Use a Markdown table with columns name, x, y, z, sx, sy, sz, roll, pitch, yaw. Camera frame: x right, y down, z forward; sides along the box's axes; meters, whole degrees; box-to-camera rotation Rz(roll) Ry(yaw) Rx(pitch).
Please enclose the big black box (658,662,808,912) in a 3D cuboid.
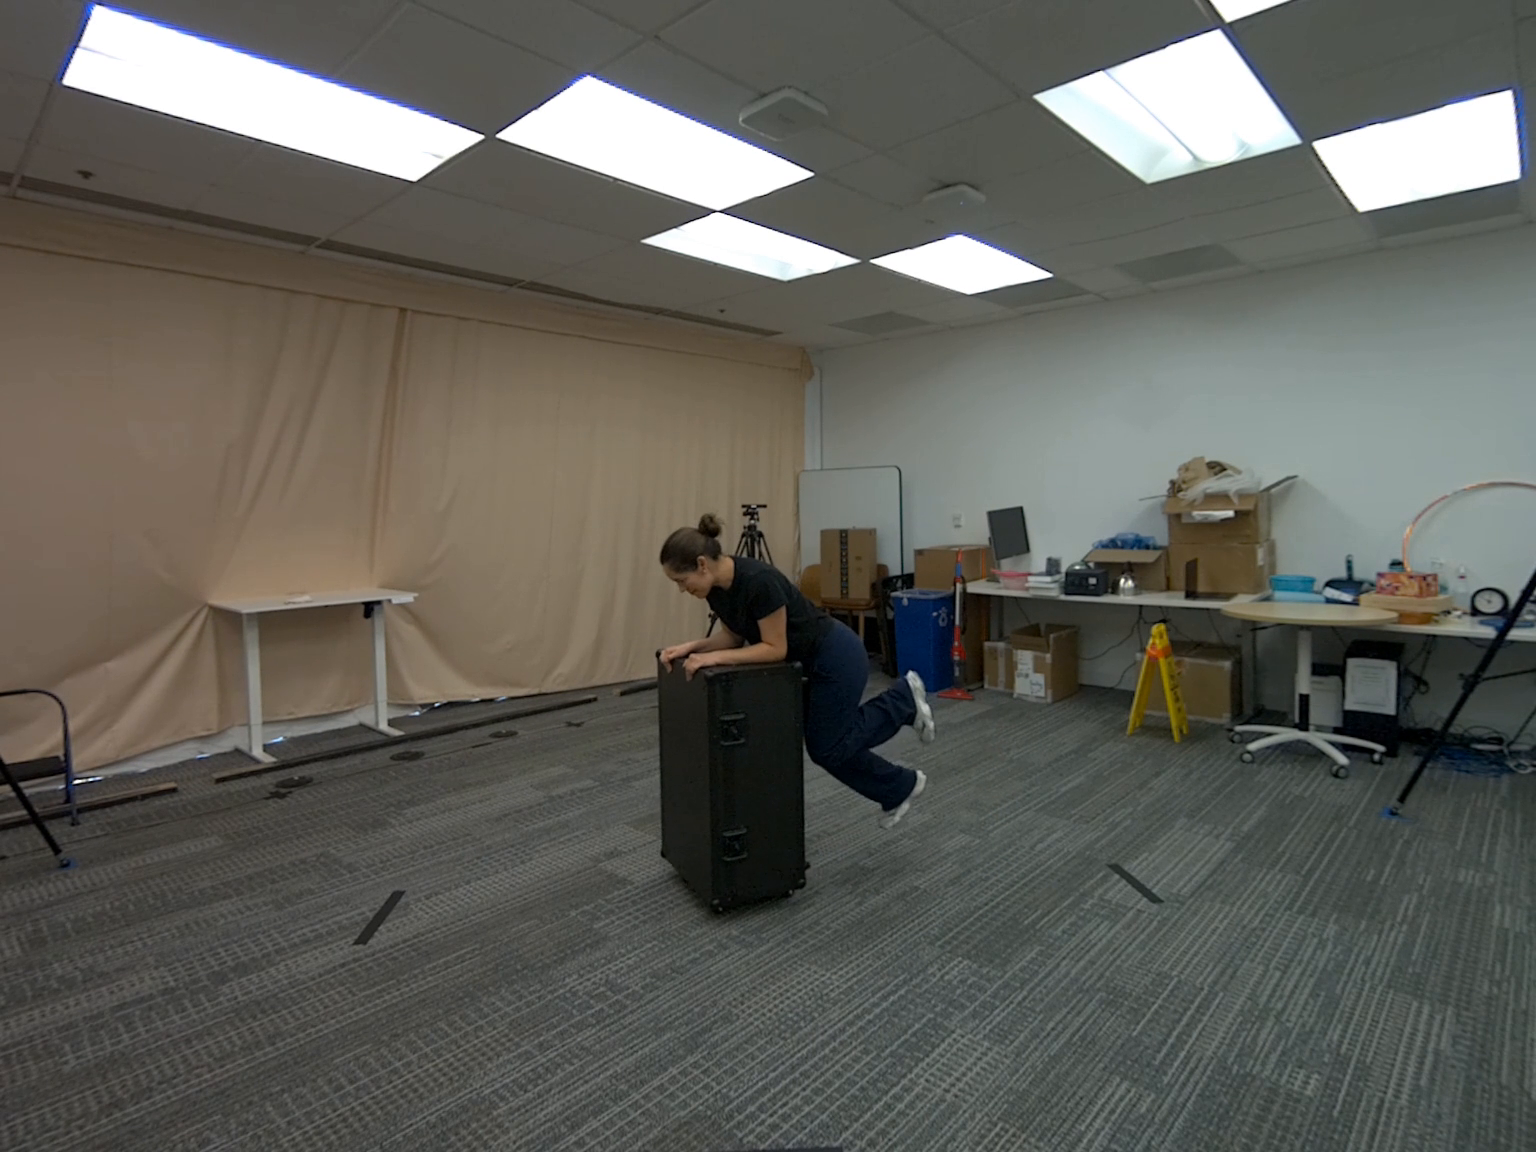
| name | x | y | z | sx | sy | sz | roll | pitch | yaw |
| --- | --- | --- | --- | --- | --- | --- | --- | --- | --- |
| big black box | -0.118 | 0.651 | 3.027 | 0.387 | 0.859 | 0.535 | -3 | 4 | -26 |
